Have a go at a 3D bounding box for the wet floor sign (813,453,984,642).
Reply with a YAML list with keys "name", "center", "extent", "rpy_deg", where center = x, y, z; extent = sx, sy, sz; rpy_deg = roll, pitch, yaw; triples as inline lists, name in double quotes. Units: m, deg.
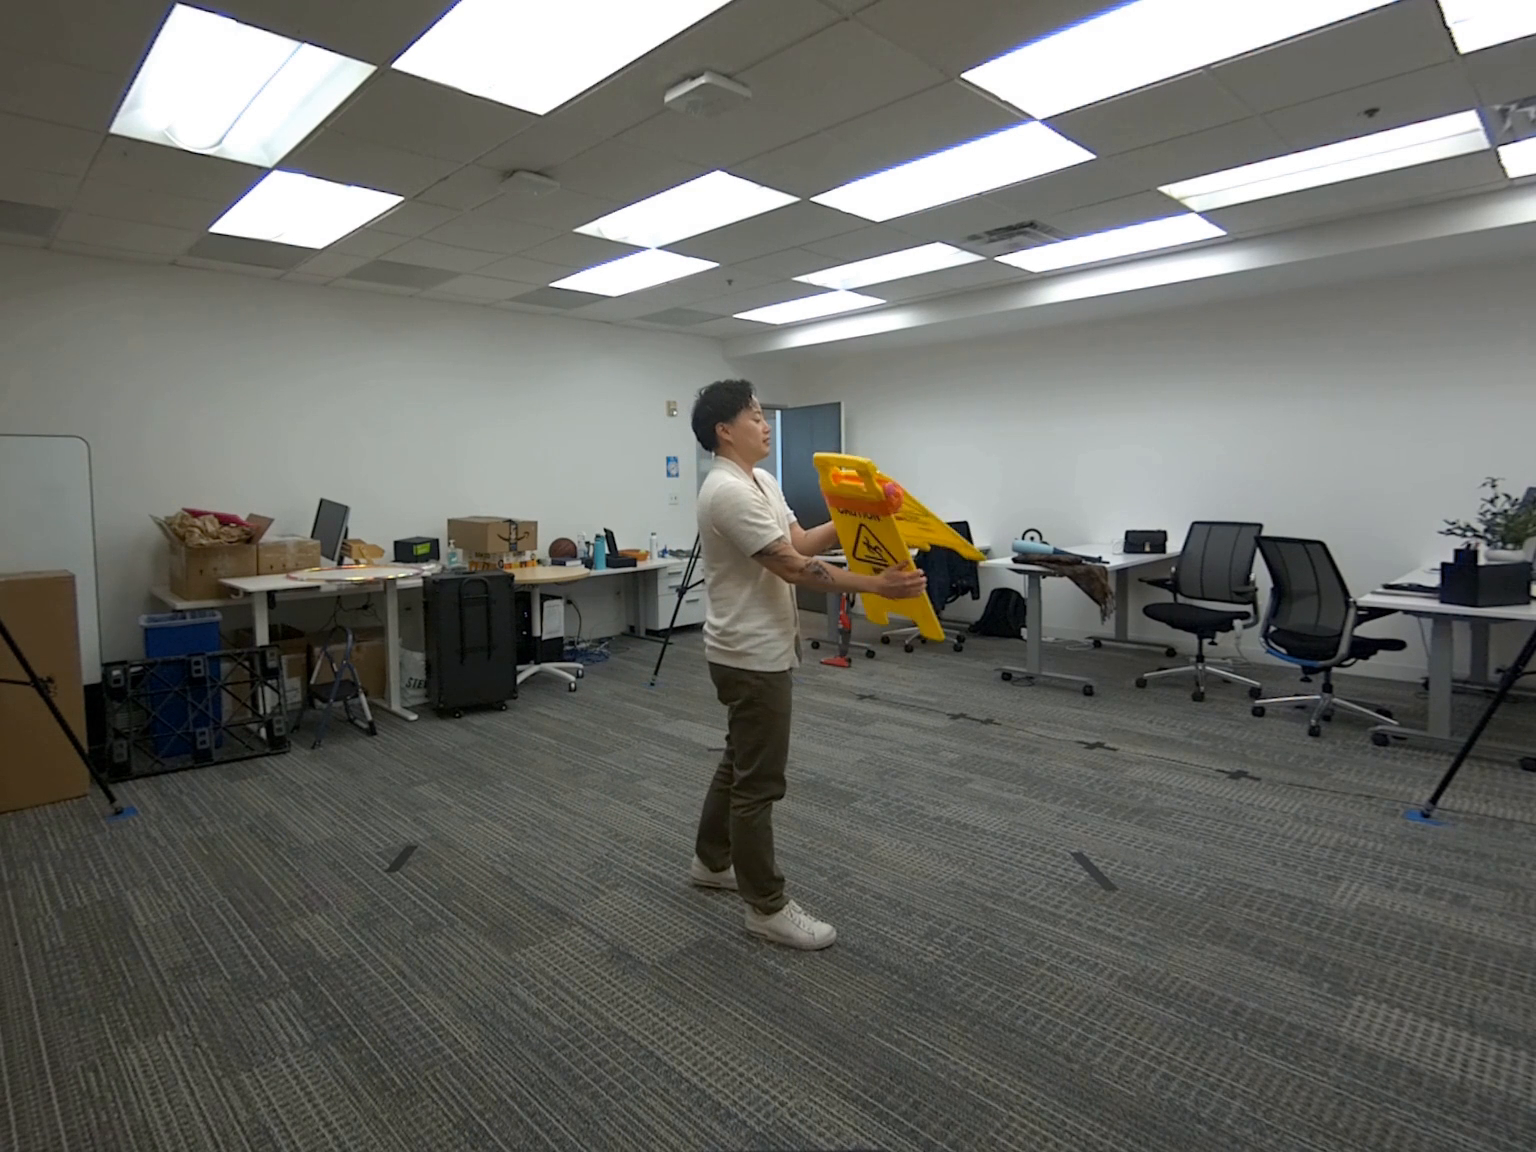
- name: "wet floor sign"
  center: [0.348, -0.137, 2.504]
  extent: [0.292, 0.291, 0.621]
  rpy_deg: [13, -27, 44]
